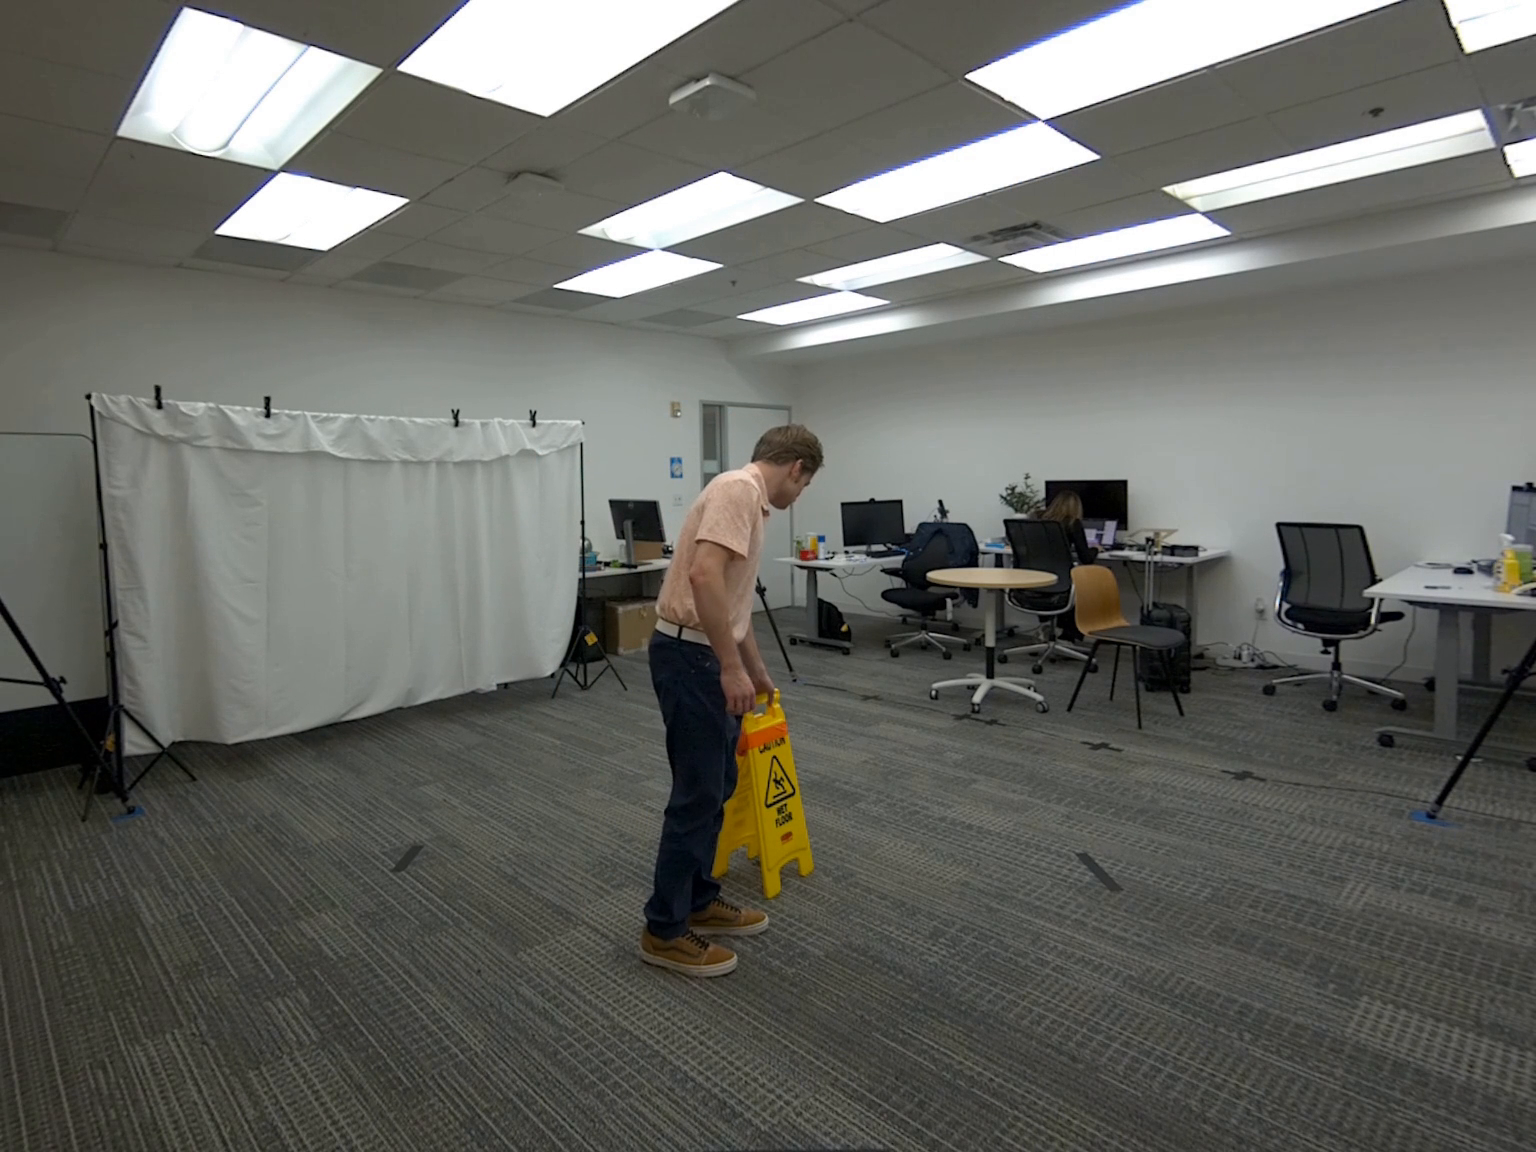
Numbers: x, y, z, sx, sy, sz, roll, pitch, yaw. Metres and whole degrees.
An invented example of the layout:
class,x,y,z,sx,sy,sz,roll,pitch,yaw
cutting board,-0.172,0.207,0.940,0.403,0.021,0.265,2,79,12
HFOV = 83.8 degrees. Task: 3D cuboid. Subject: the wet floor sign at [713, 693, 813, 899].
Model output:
class,x,y,z,sx,sy,sz,roll,pitch,yaw
wet floor sign,-0.023,0.732,3.008,0.298,0.644,0.275,2,4,38
